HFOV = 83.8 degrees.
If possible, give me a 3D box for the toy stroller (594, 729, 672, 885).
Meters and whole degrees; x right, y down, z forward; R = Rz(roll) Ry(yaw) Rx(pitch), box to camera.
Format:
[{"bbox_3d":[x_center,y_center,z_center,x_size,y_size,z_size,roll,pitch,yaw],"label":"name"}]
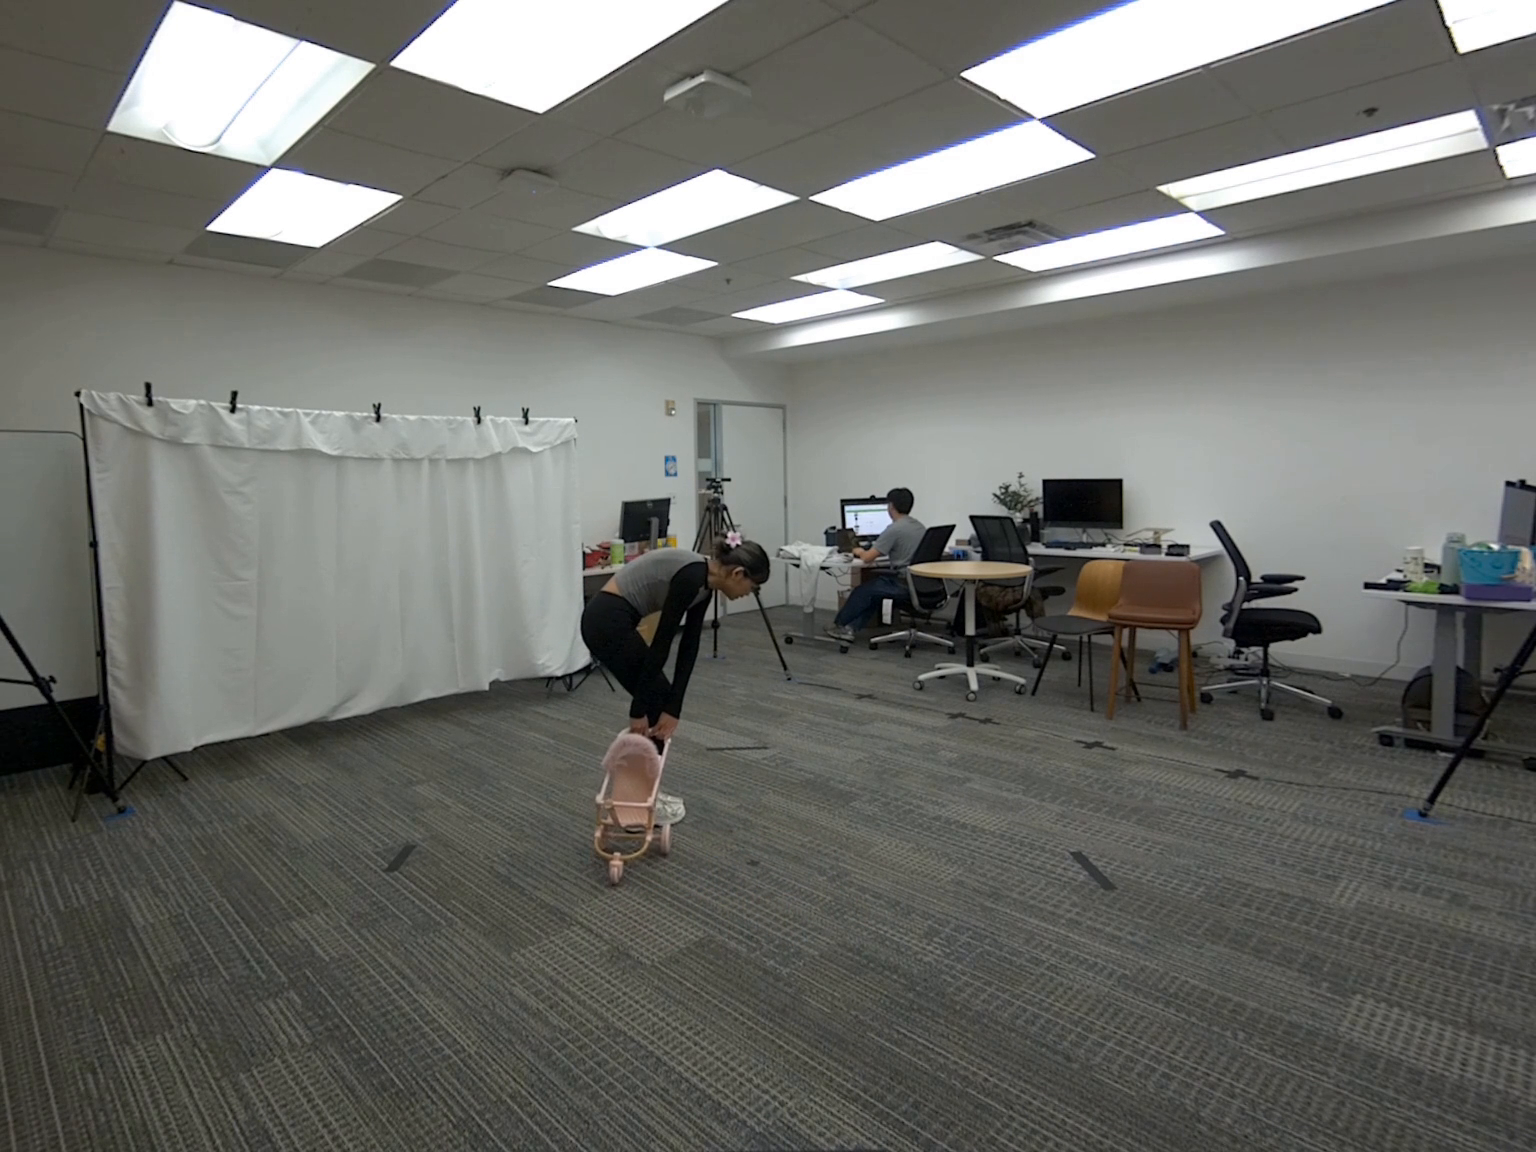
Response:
[{"bbox_3d":[-0.513,0.826,3.136,0.284,0.540,0.334,1,-11,10],"label":"toy stroller"}]
